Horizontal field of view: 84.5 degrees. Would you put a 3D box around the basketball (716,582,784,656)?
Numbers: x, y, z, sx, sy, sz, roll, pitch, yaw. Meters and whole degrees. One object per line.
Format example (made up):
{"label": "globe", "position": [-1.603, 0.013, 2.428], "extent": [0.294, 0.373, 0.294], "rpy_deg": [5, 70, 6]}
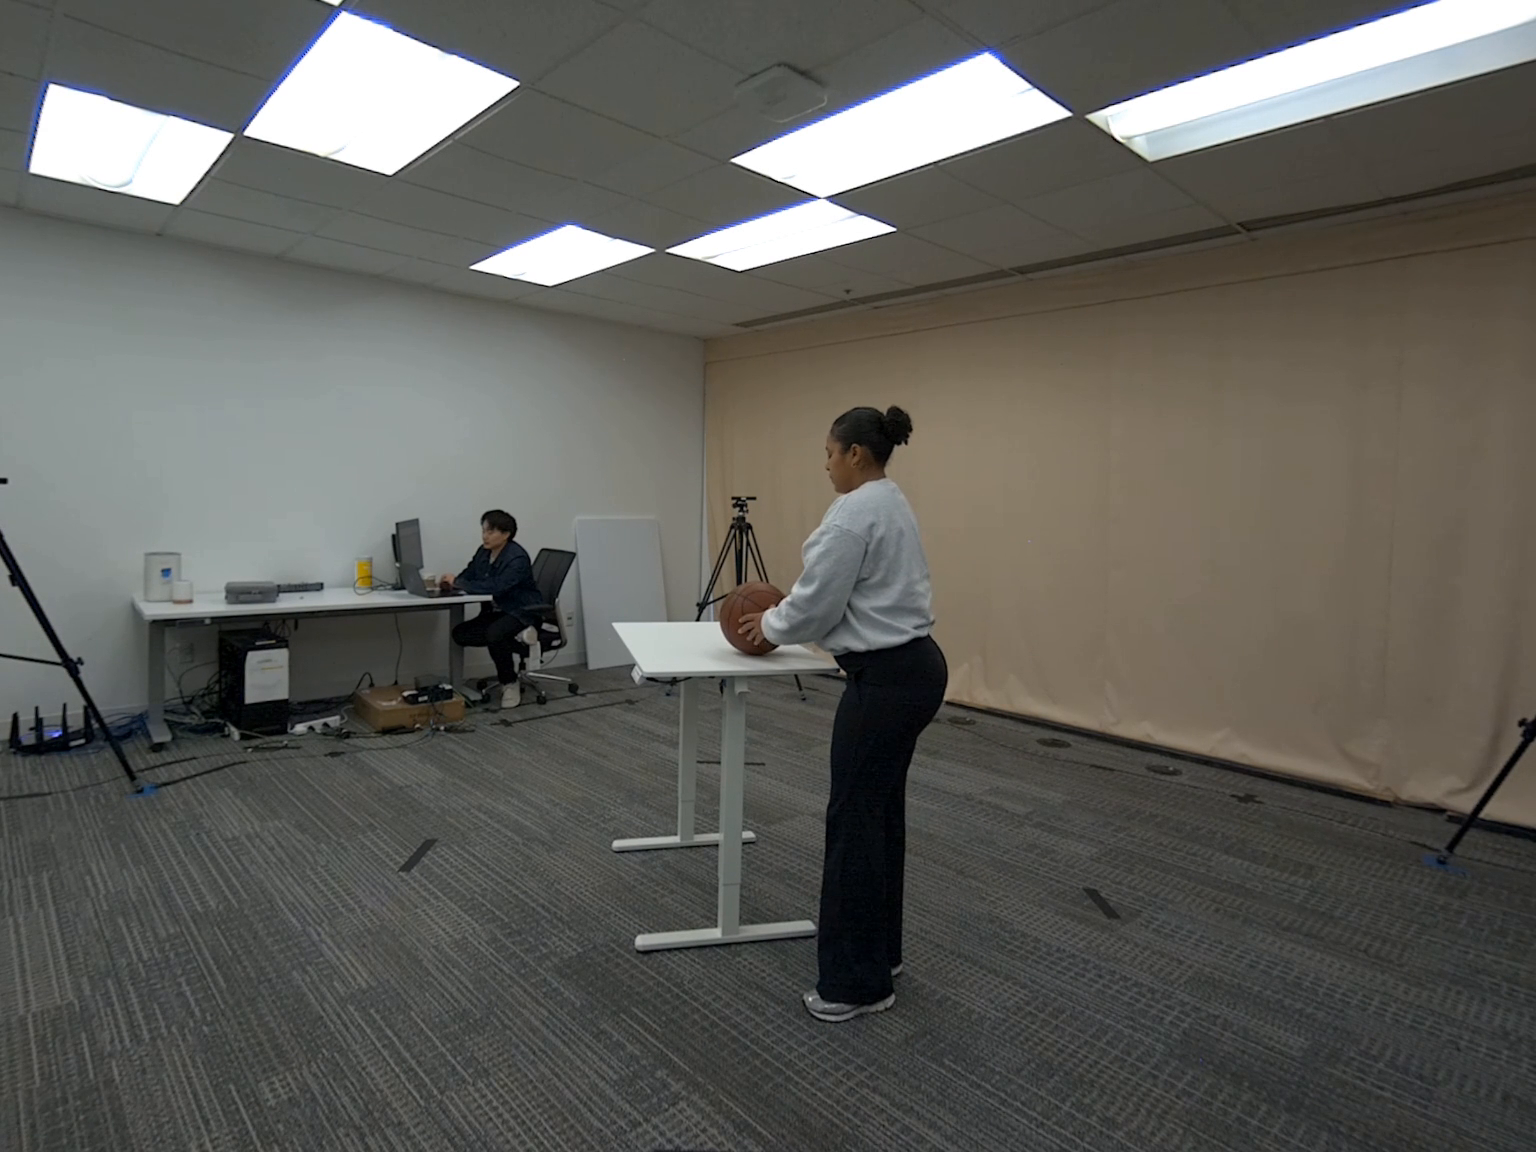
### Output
{"label": "basketball", "position": [-0.038, 0.135, 2.750], "extent": [0.236, 0.235, 0.237], "rpy_deg": [1, 4, -1]}
